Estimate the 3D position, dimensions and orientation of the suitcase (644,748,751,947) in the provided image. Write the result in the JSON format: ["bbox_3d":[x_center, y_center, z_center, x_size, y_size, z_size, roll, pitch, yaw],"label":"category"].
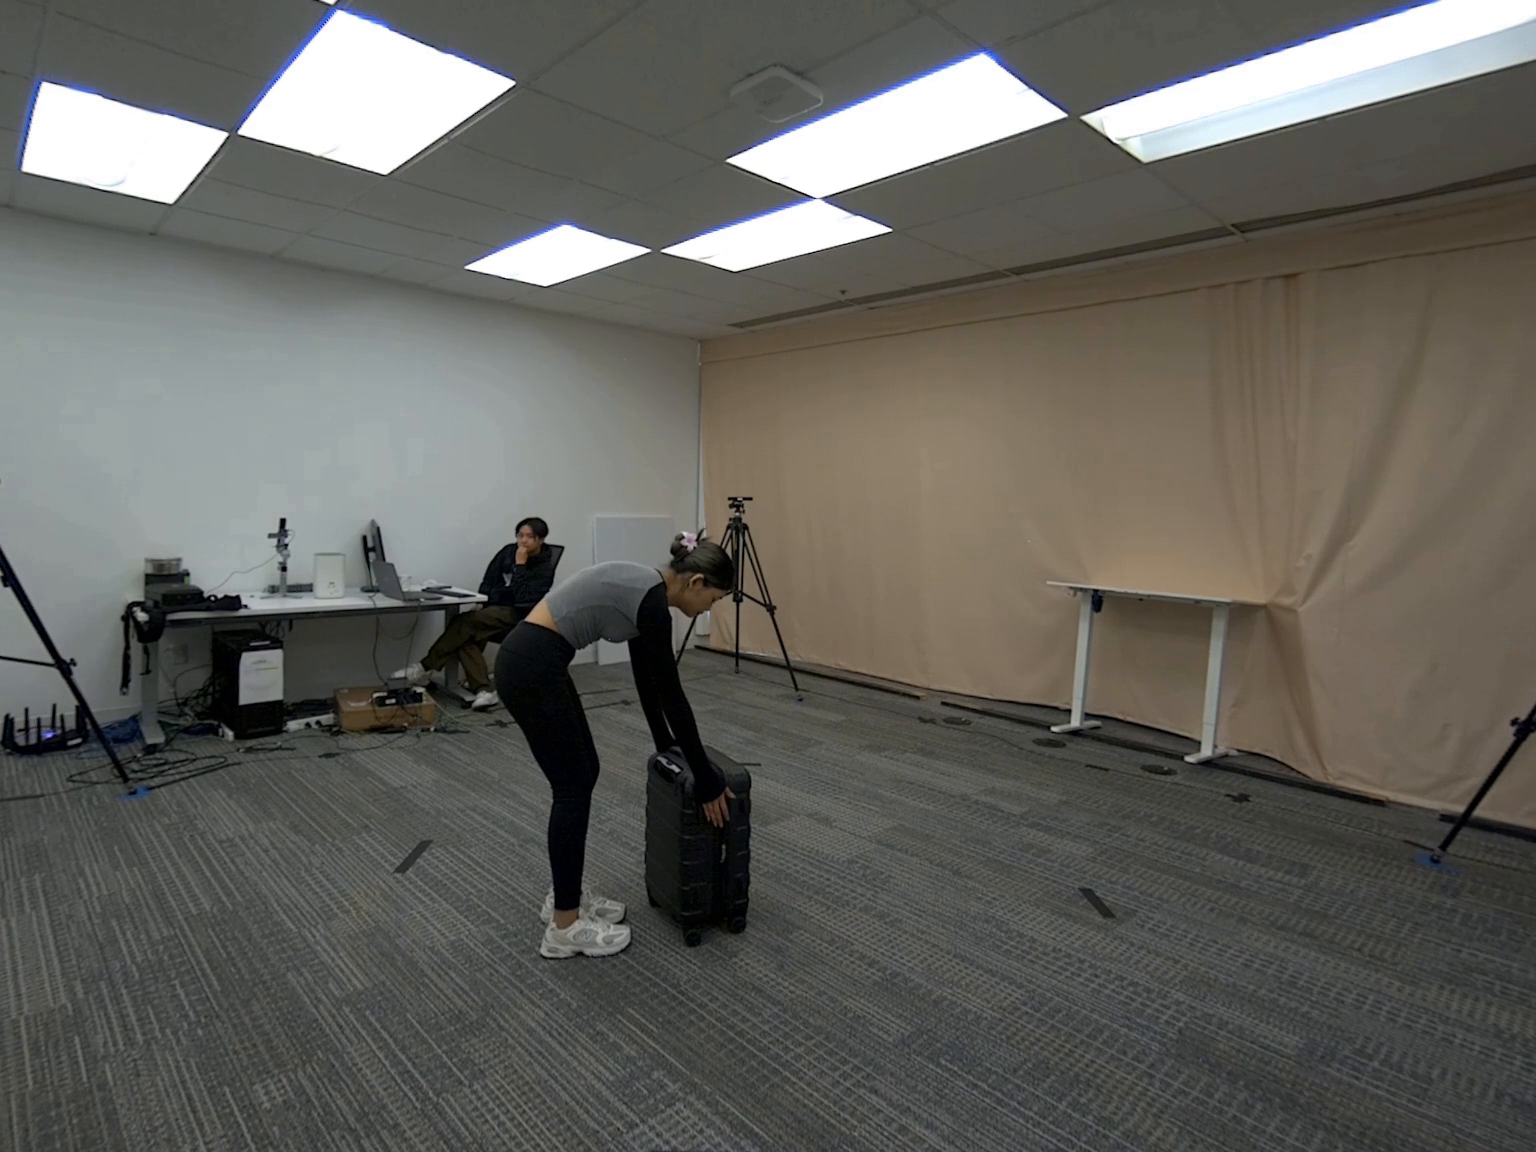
[{"bbox_3d":[-0.243,0.856,2.788,0.243,0.548,0.383,0,3,-28],"label":"suitcase"}]
